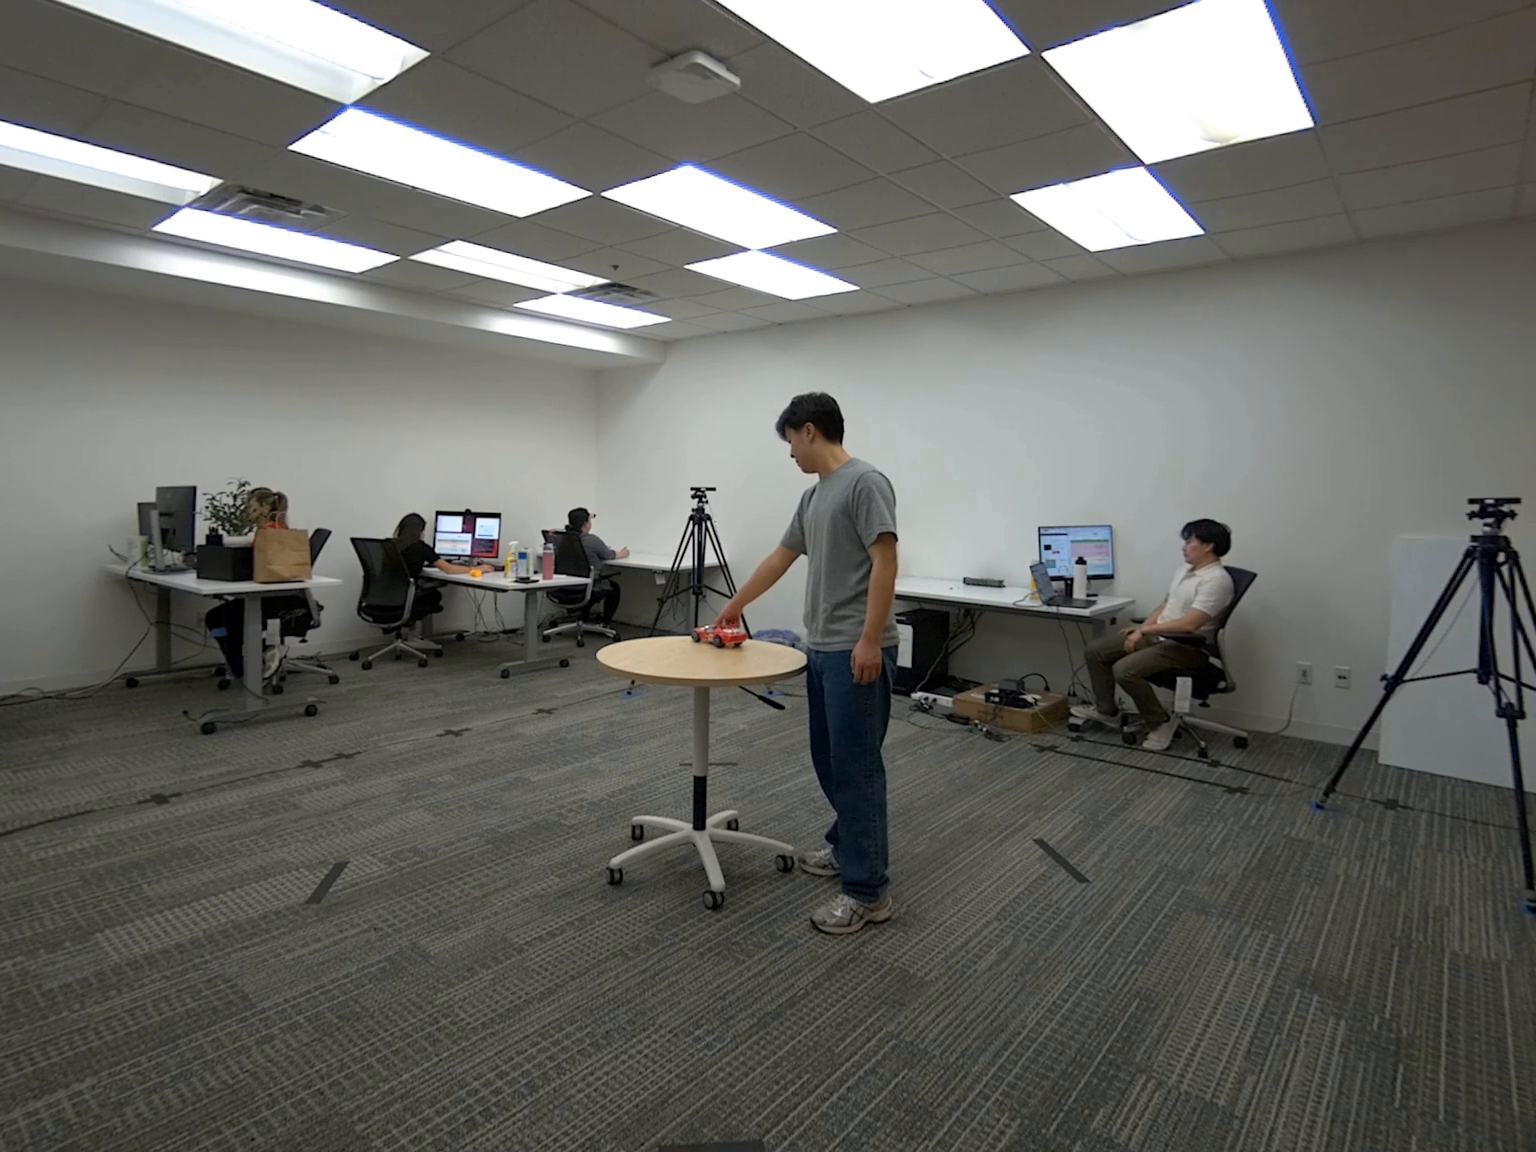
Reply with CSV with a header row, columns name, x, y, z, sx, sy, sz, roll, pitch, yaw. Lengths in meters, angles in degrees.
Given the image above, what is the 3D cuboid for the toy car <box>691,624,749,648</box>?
name,x,y,z,sx,sy,sz,roll,pitch,yaw
toy car,-0.194,0.232,3.301,0.126,0.083,0.261,-2,-4,-41
